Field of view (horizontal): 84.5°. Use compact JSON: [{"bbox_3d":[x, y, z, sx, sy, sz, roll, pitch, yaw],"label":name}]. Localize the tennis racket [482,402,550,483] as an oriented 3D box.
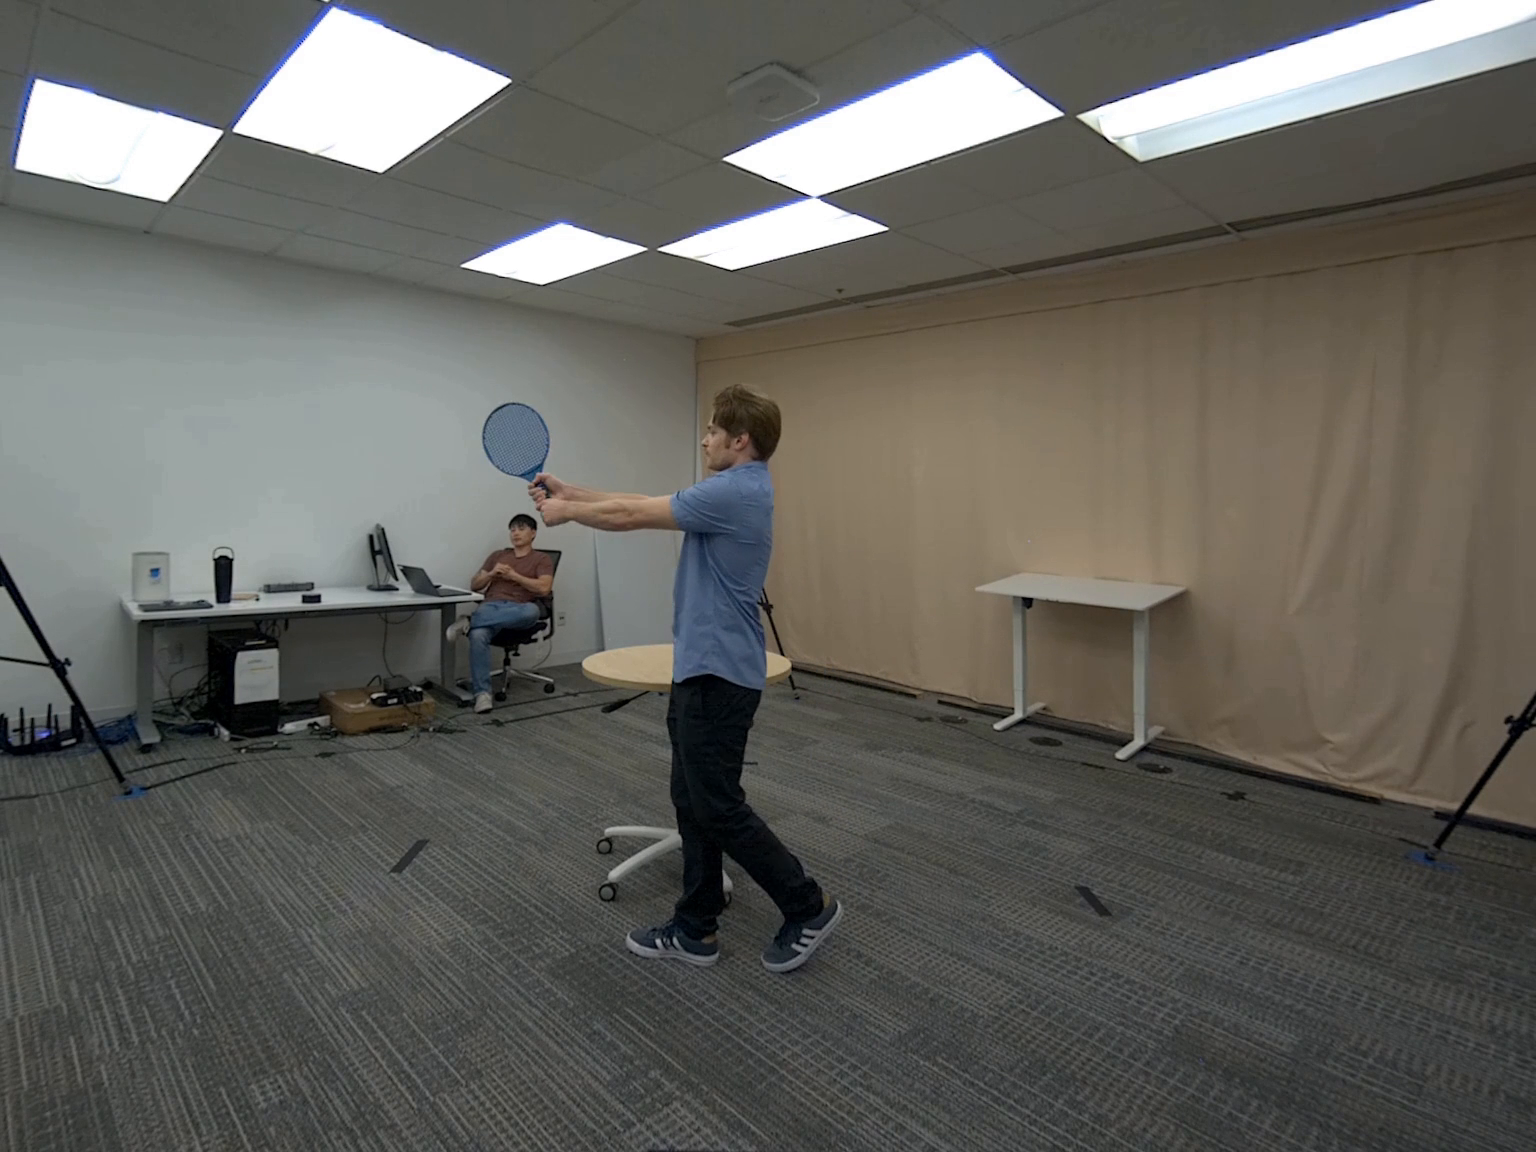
[{"bbox_3d":[-0.788,-0.362,2.673,0.214,0.440,0.031,-21,-17,5],"label":"tennis racket"}]
